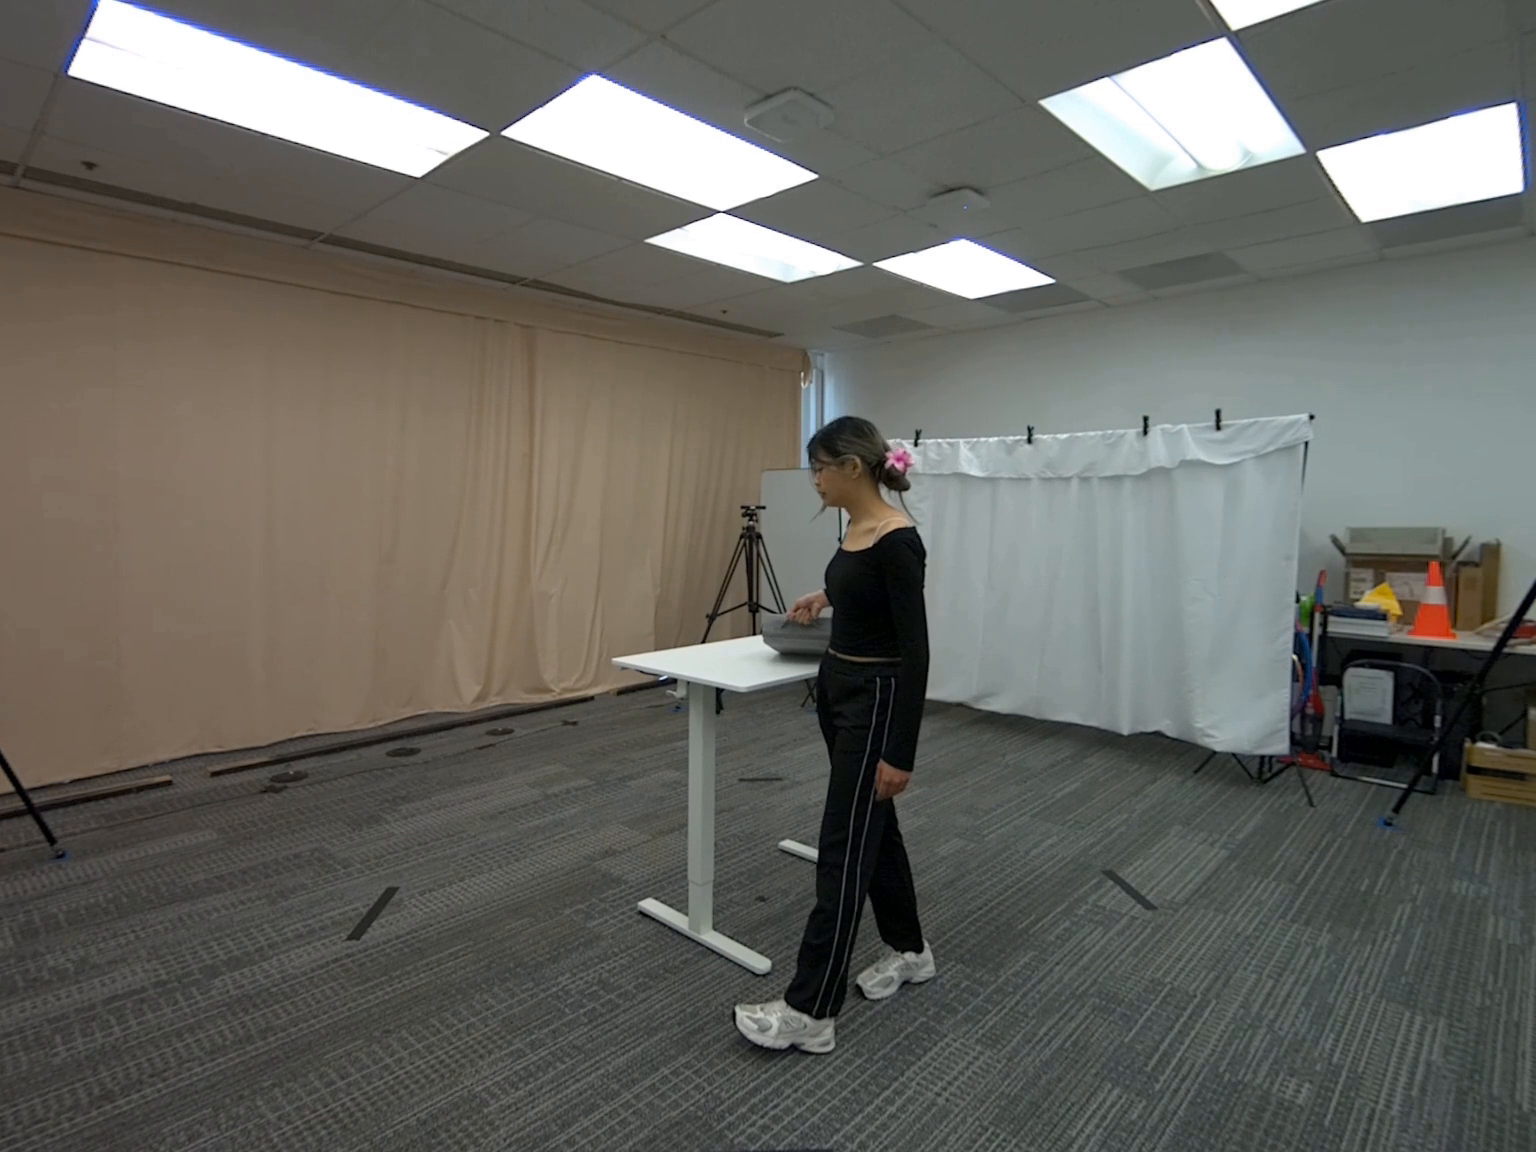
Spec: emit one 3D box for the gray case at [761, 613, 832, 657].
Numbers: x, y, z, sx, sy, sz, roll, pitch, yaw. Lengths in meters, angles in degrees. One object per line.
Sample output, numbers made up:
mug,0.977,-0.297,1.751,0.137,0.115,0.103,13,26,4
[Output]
gray case,0.131,0.194,2.780,0.262,0.105,0.254,2,-9,18
